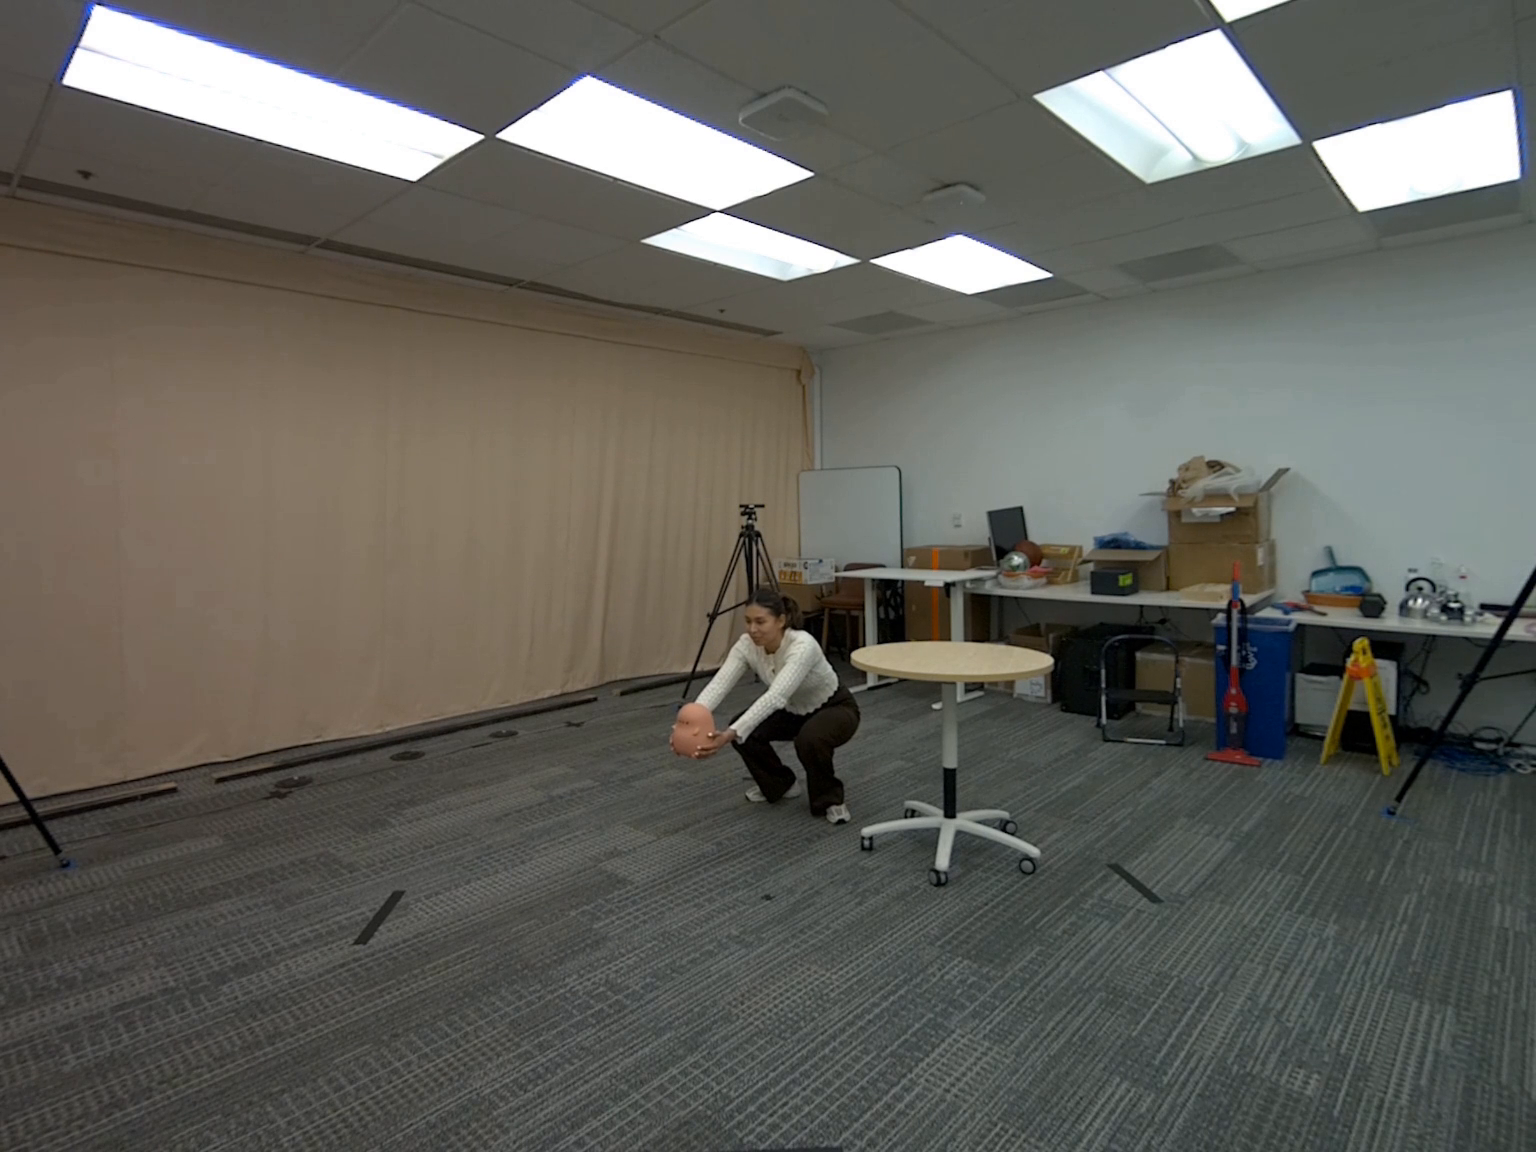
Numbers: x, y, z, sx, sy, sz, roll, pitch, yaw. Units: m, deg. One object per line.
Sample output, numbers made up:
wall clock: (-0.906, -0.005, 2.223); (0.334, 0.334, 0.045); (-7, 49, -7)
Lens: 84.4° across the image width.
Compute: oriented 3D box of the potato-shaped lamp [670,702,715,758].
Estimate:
potato-shaped lamp: (-0.290, 0.600, 3.323); (0.170, 0.196, 0.167); (8, 18, 43)
